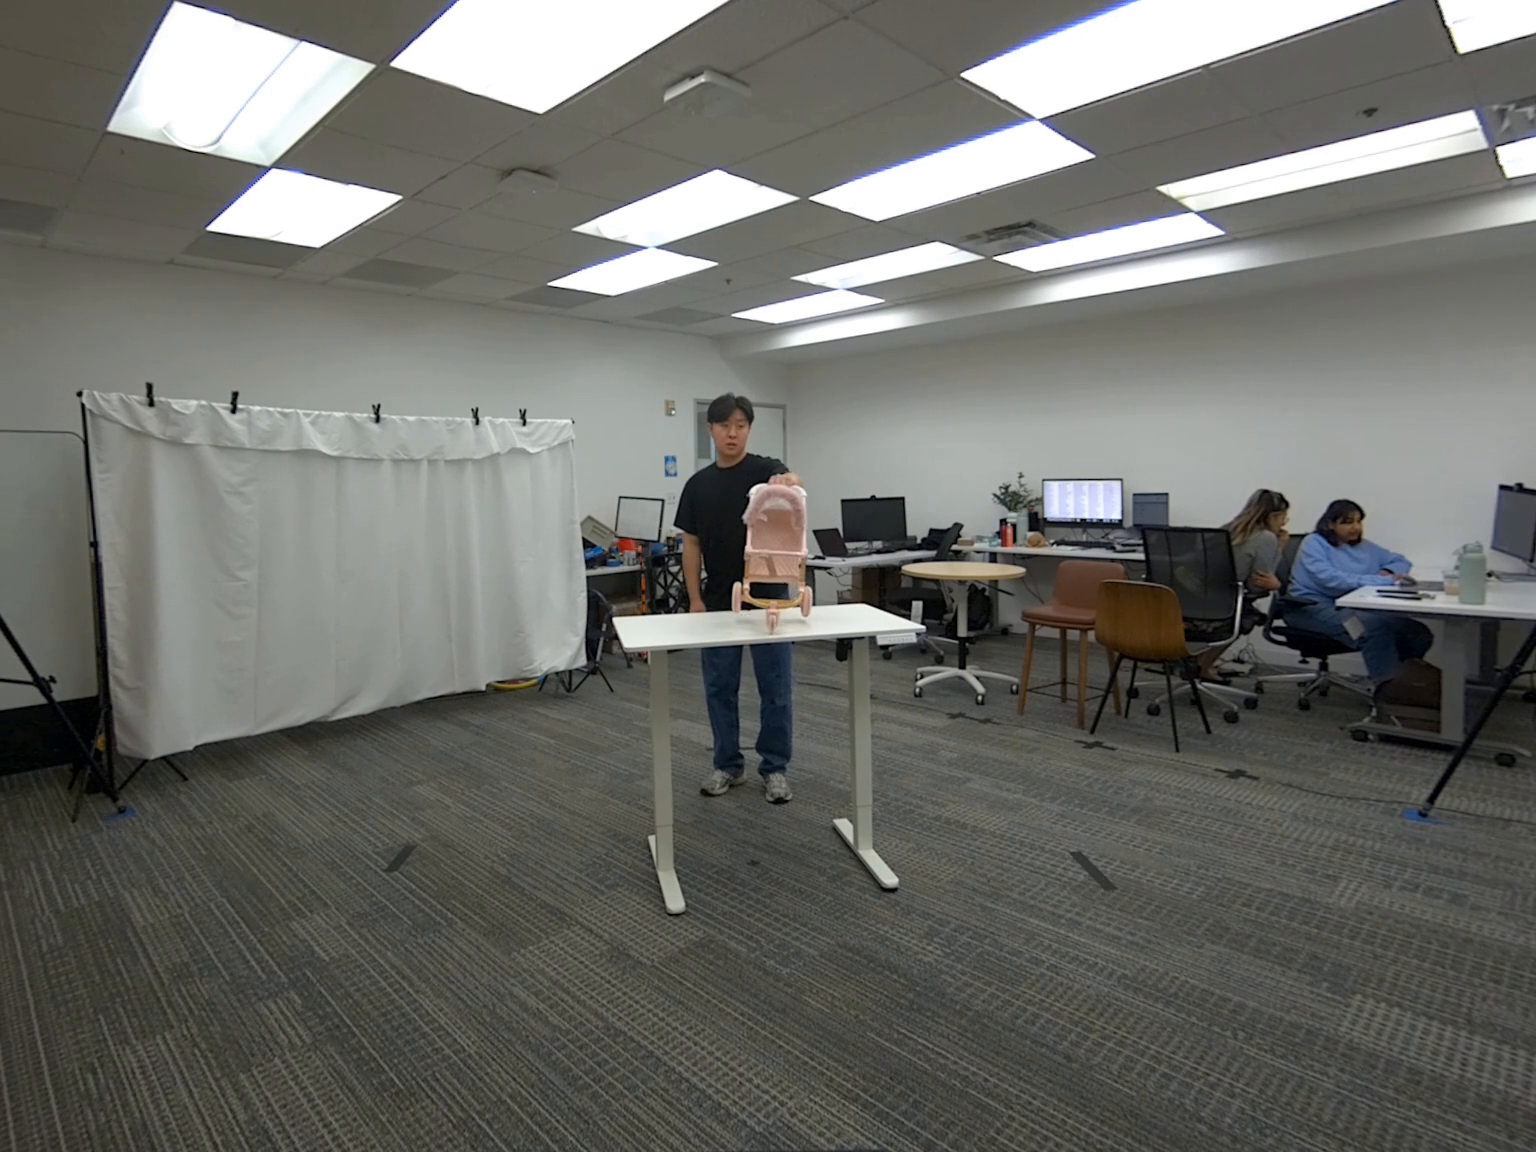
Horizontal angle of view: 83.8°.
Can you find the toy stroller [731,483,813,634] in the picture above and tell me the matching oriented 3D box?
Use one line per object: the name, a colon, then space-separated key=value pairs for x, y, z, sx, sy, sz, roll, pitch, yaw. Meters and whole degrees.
toy stroller: x=0.027 y=-0.076 z=2.951 sx=0.283 sy=0.537 sz=0.338 roll=3 pitch=-4 yaw=6
